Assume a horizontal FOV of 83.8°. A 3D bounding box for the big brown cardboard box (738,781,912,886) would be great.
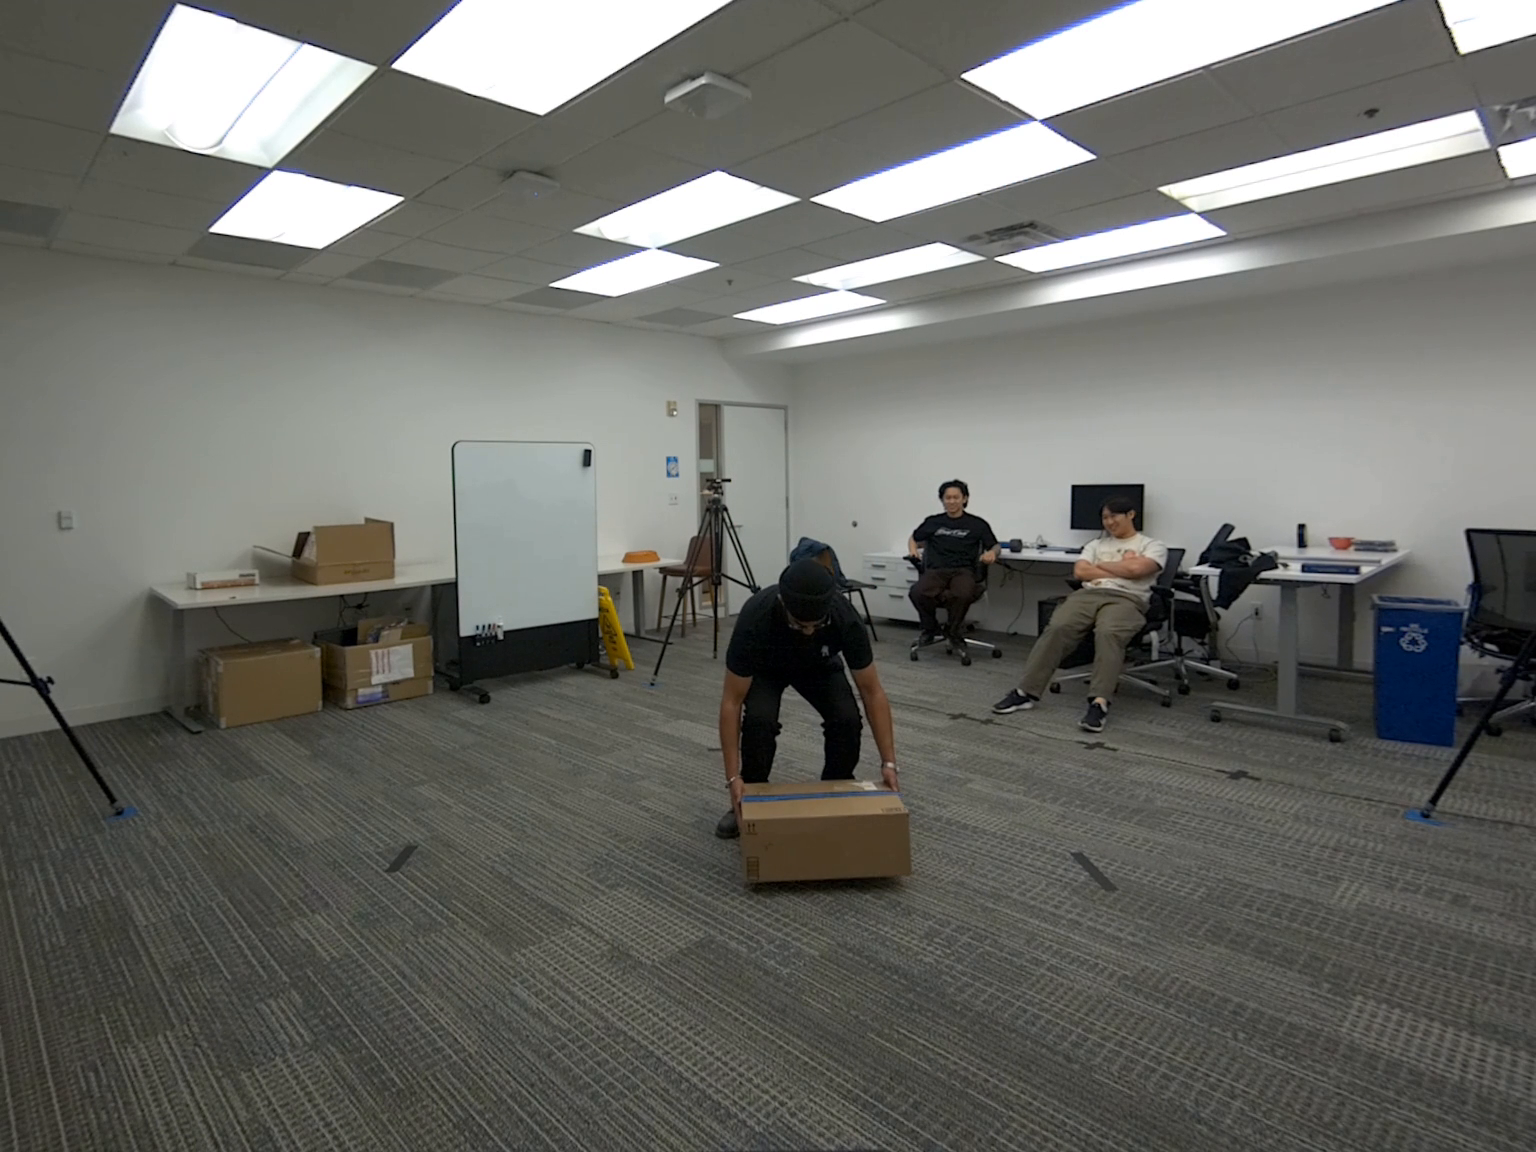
[{"bbox_3d":[0.194,0.894,3.050,0.587,0.233,0.420,-3,3,-4],"label":"big brown cardboard box"}]
